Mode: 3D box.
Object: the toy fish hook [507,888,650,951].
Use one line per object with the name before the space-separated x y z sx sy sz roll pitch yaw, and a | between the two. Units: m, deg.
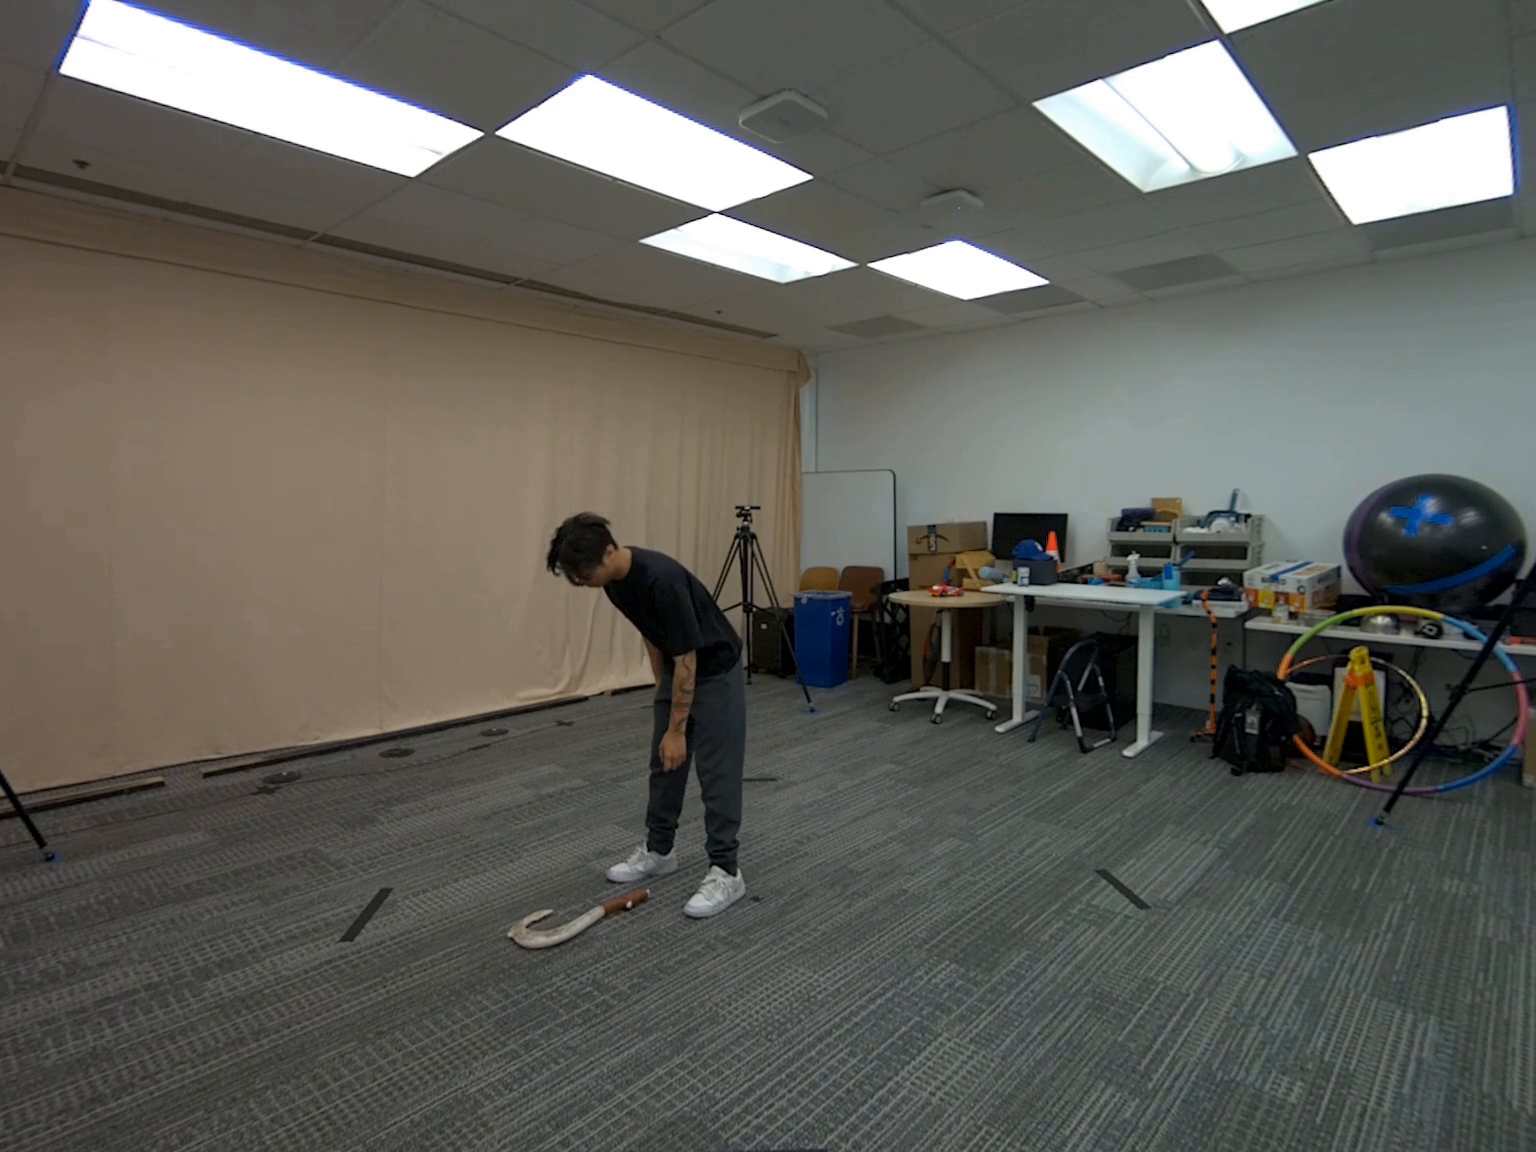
toy fish hook | -0.633 1.136 2.851 0.491 0.048 0.232 -5 7 -45
